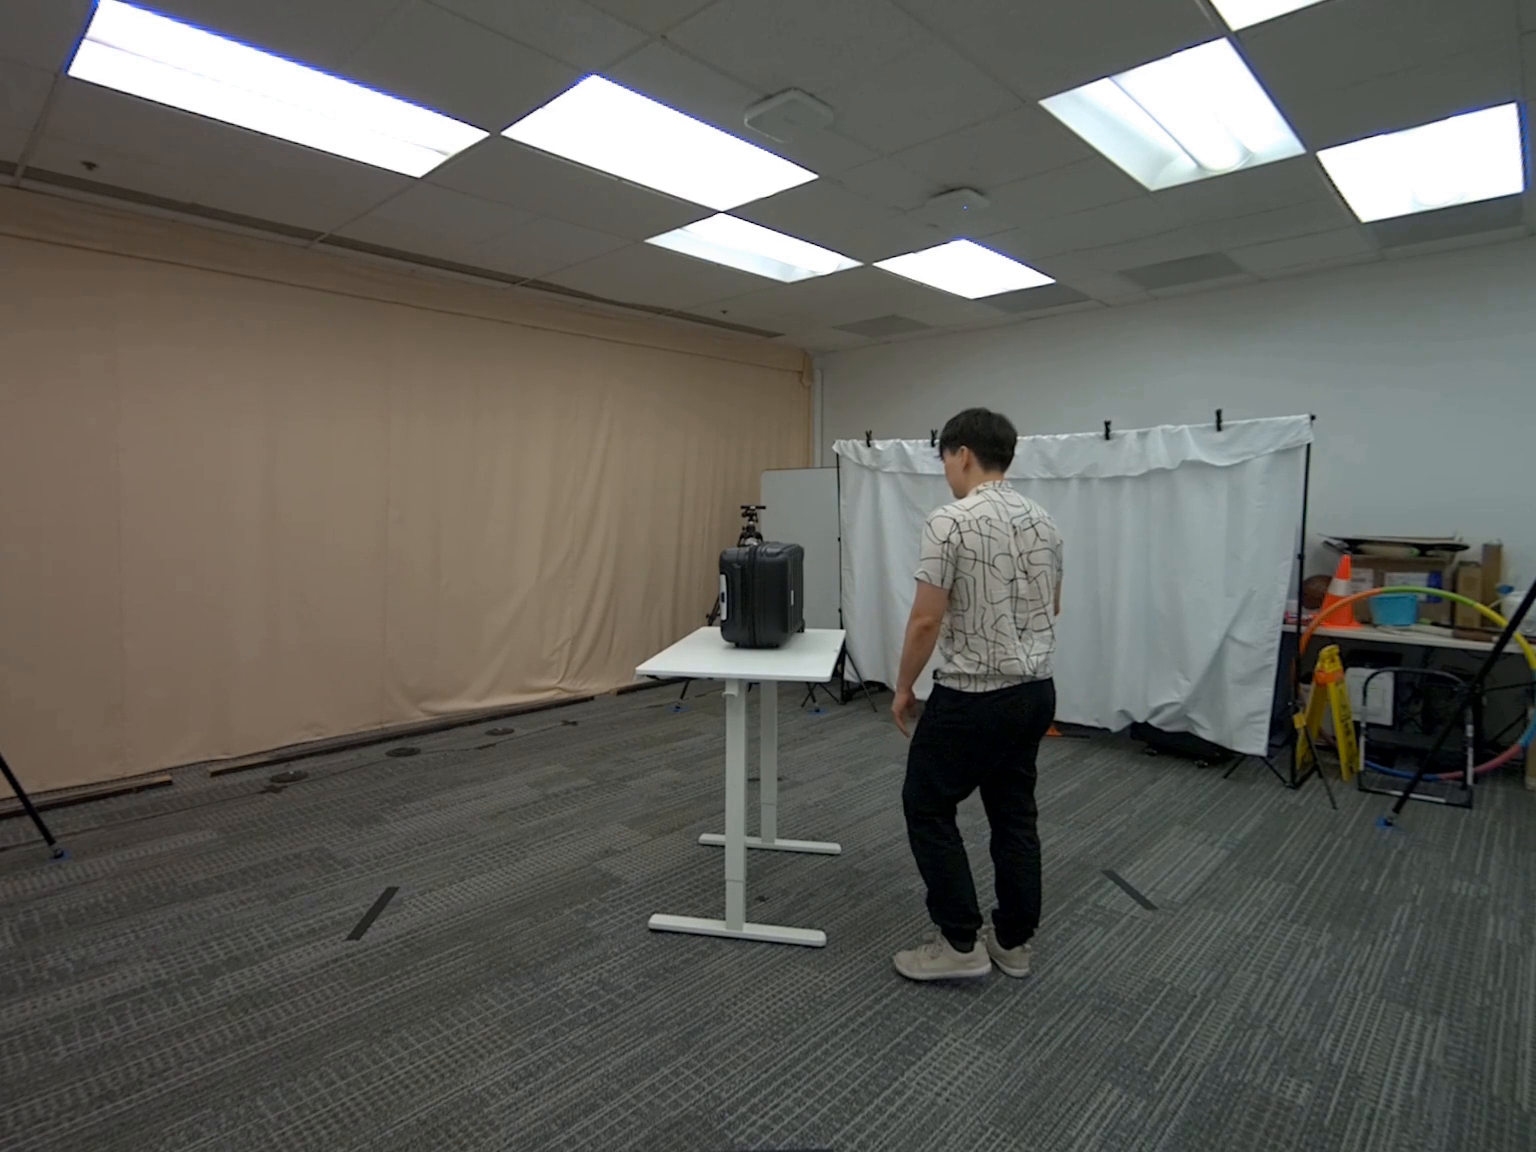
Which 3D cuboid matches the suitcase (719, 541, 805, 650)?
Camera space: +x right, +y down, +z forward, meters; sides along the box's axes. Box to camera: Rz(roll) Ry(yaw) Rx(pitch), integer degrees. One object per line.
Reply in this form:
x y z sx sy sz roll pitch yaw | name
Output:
-0.014 0.053 3.174 0.251 0.375 0.544 1 3 10 | suitcase
